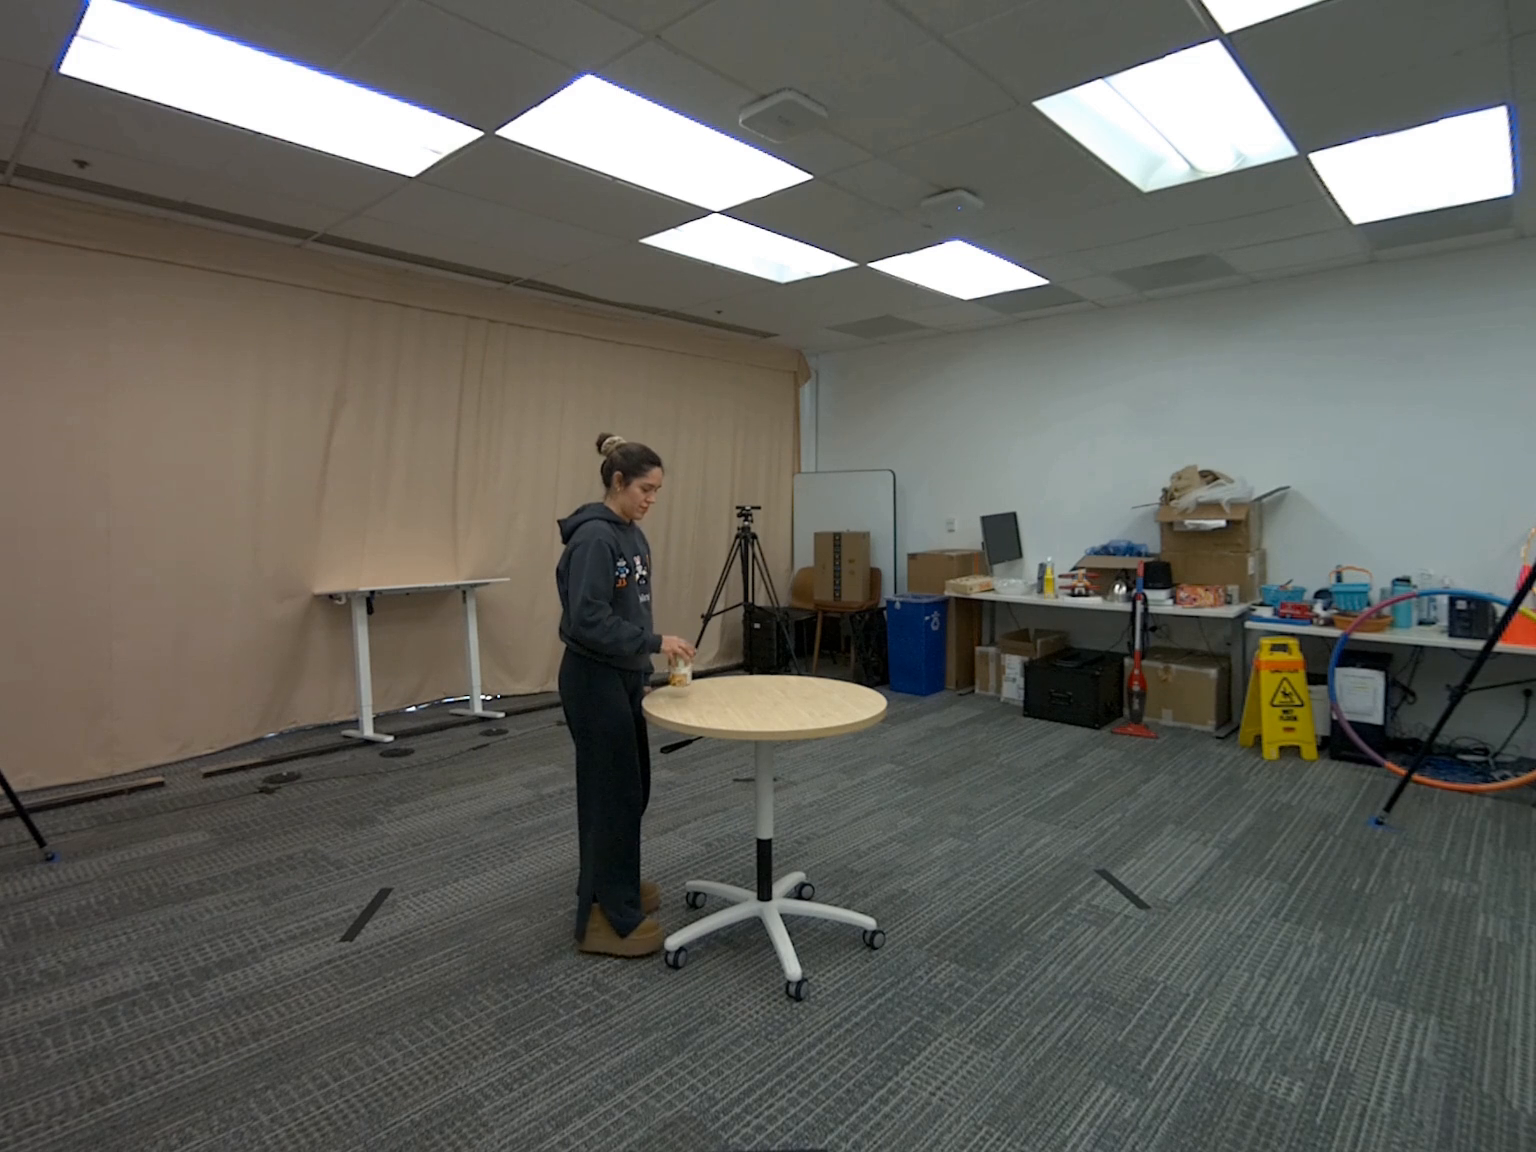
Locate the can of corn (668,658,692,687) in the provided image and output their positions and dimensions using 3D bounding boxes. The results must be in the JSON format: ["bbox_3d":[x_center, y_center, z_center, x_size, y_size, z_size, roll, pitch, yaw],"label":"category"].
[{"bbox_3d":[-0.279,0.295,2.663,0.074,0.110,0.075,5,10,-3],"label":"can of corn"}]
